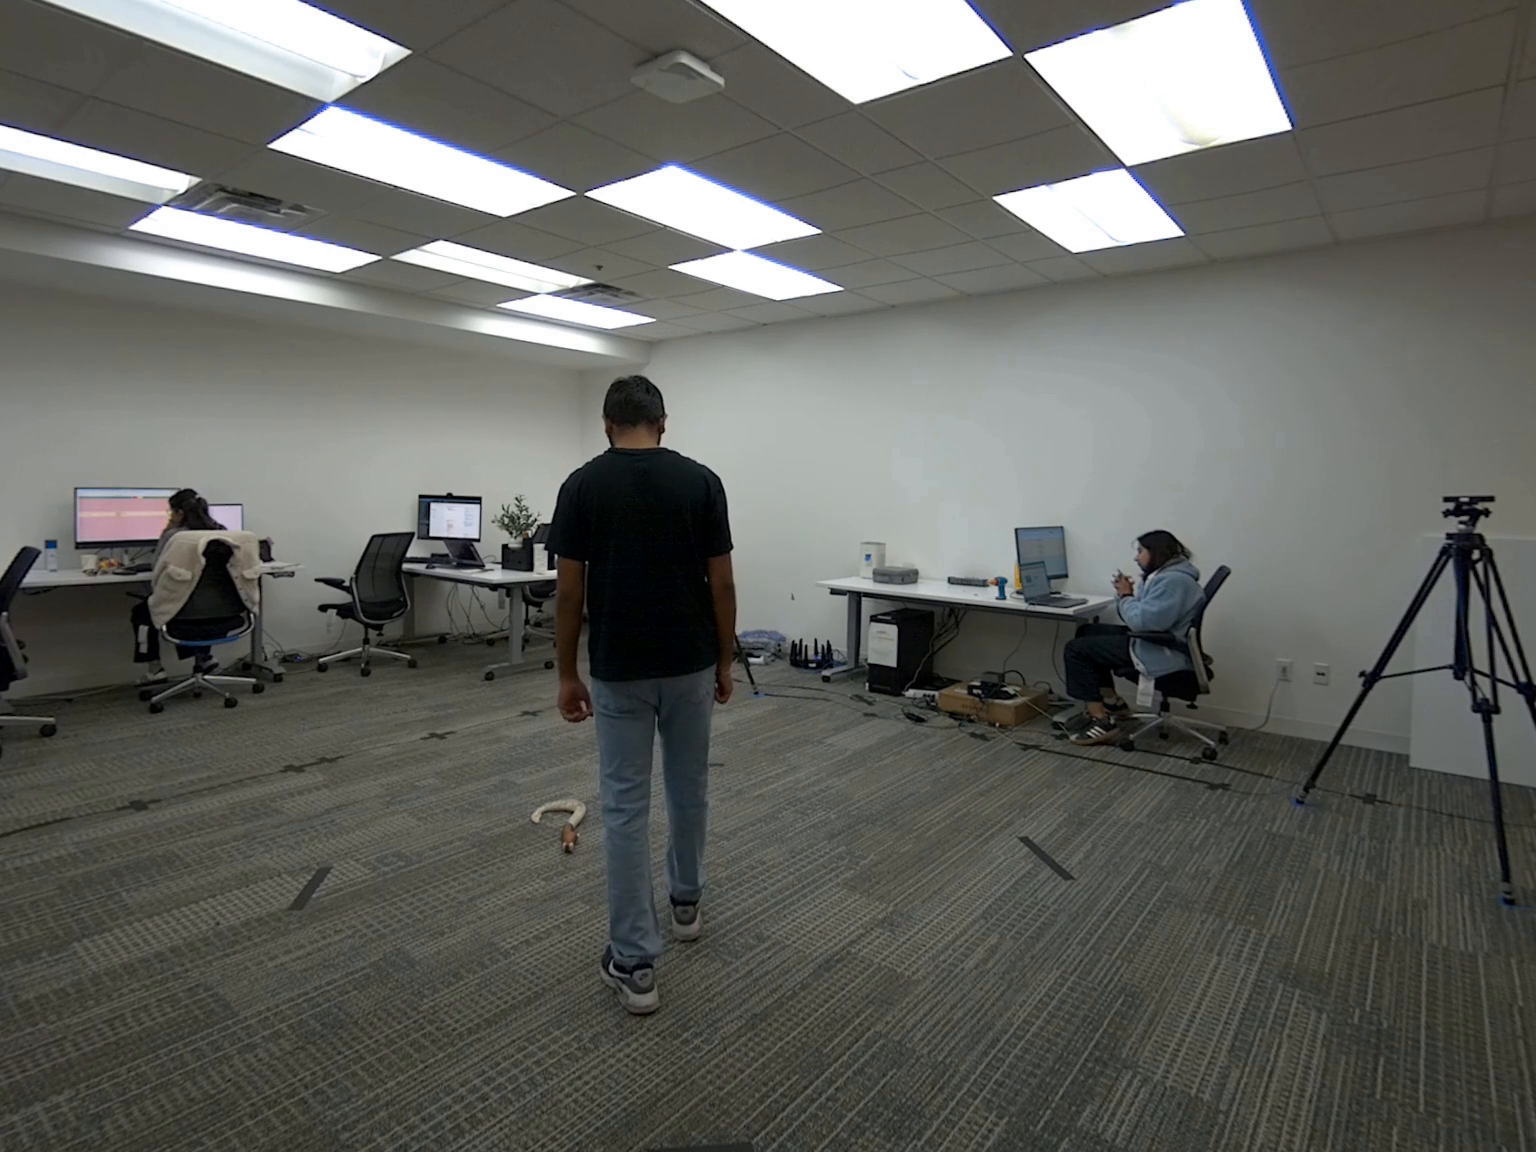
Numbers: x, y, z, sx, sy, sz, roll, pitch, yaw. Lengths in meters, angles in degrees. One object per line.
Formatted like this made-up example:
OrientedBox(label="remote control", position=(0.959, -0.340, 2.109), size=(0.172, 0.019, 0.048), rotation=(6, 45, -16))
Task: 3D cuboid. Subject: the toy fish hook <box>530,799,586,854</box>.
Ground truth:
OrientedBox(label="toy fish hook", position=(-0.866, 1.009, 3.454), size=(0.223, 0.048, 0.514), rotation=(-8, 7, -10))
